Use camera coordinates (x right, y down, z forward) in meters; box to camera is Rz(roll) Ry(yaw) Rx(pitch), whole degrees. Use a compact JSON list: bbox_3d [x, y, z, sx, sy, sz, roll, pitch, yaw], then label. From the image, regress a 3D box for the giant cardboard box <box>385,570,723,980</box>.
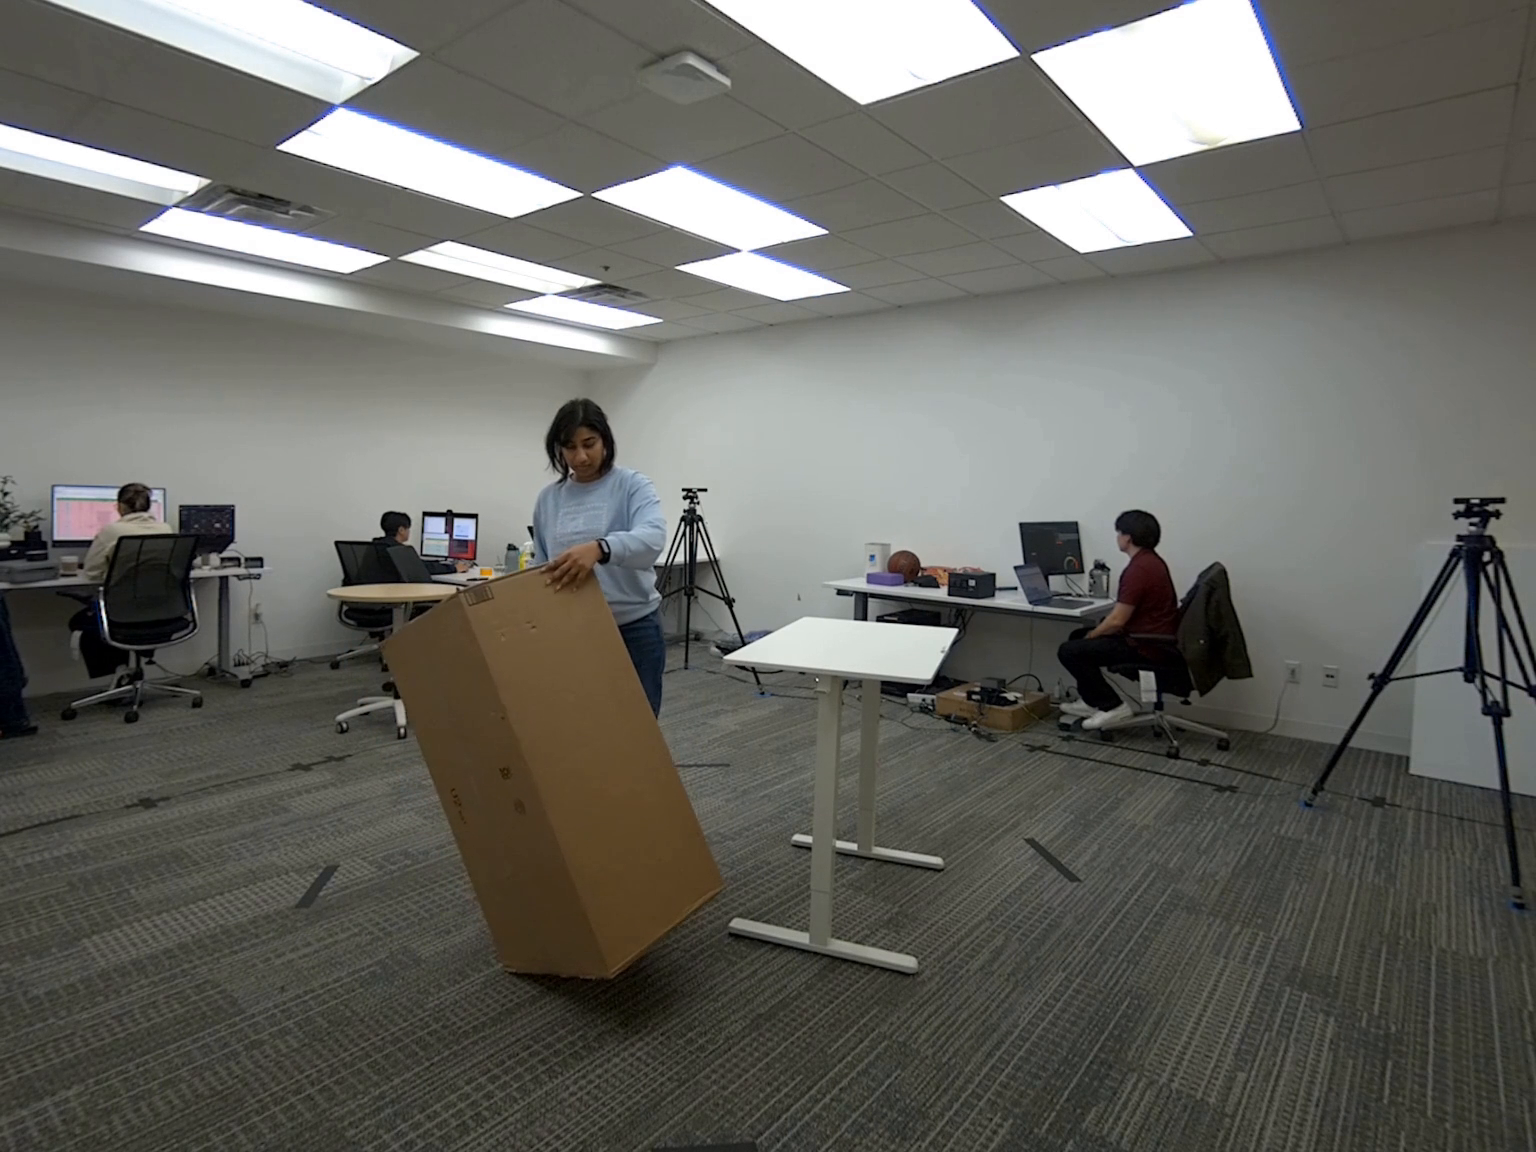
[{"bbox_3d":[-0.645,0.535,2.444,0.586,1.033,0.417,-27,-6,42],"label":"giant cardboard box"}]
